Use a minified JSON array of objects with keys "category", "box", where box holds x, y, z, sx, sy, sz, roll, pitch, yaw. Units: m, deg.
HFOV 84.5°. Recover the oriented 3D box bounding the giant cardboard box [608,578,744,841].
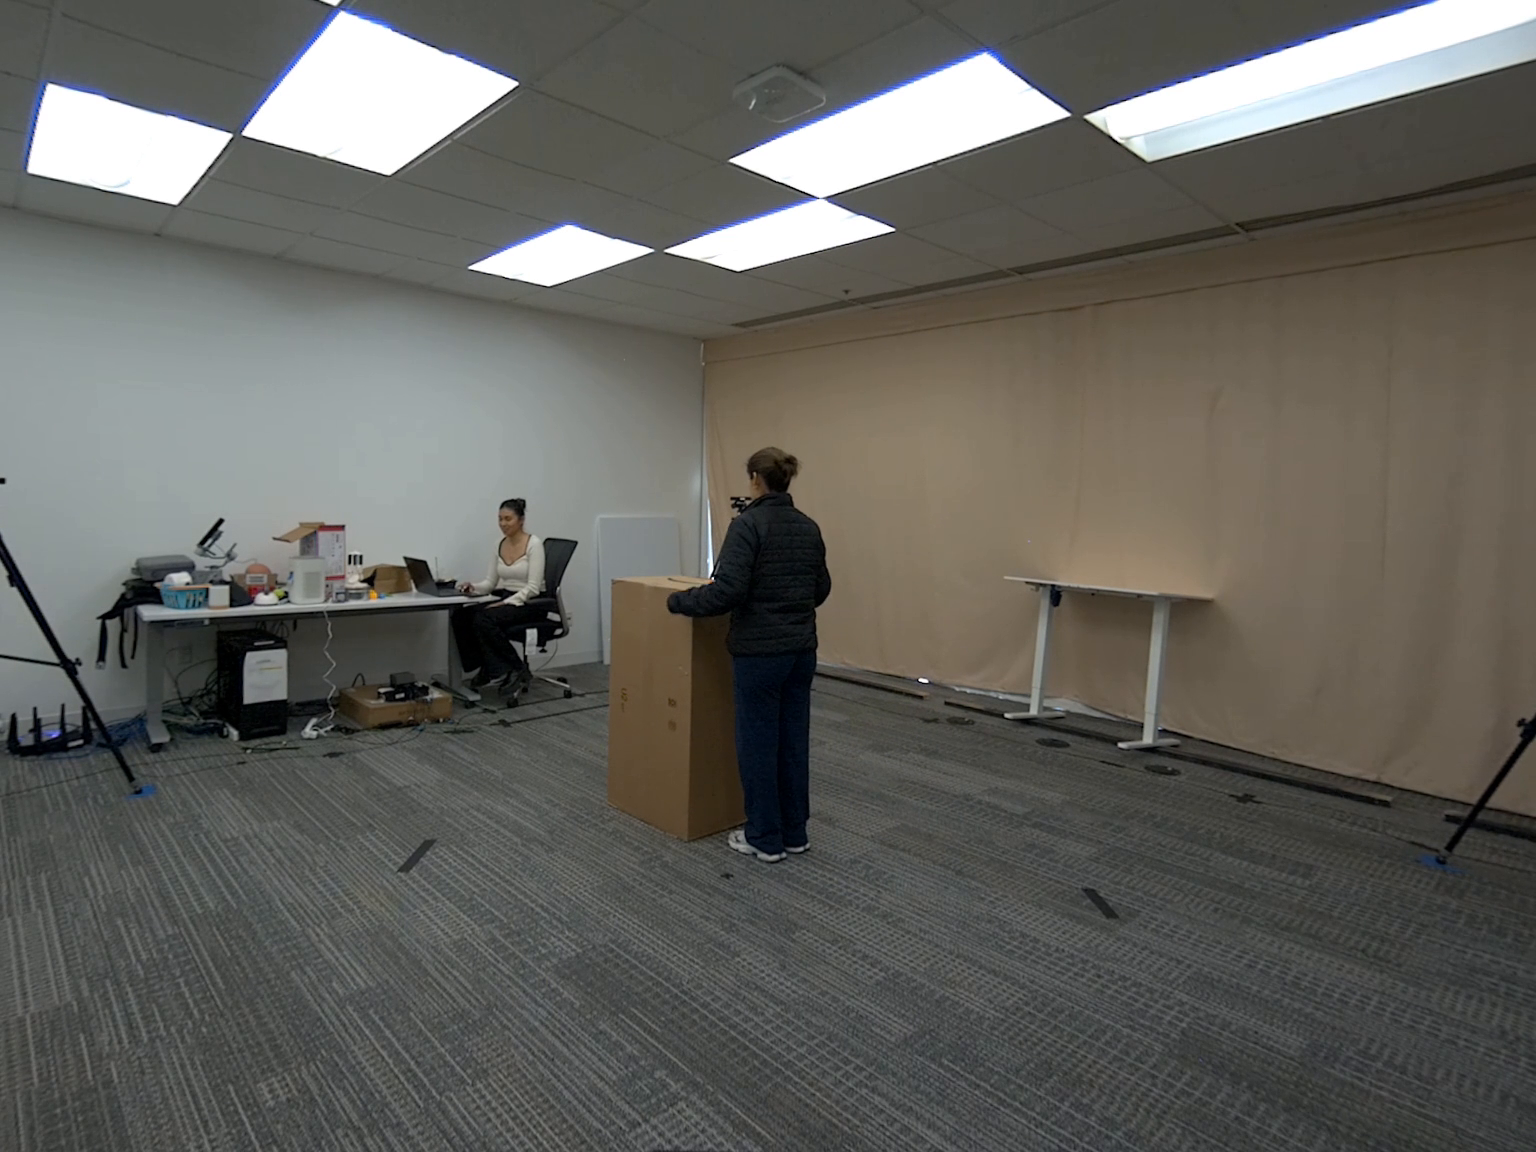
[{"category":"giant cardboard box","box":[-0.372,0.540,3.715,0.436,1.025,0.599,0,4,-43]}]
